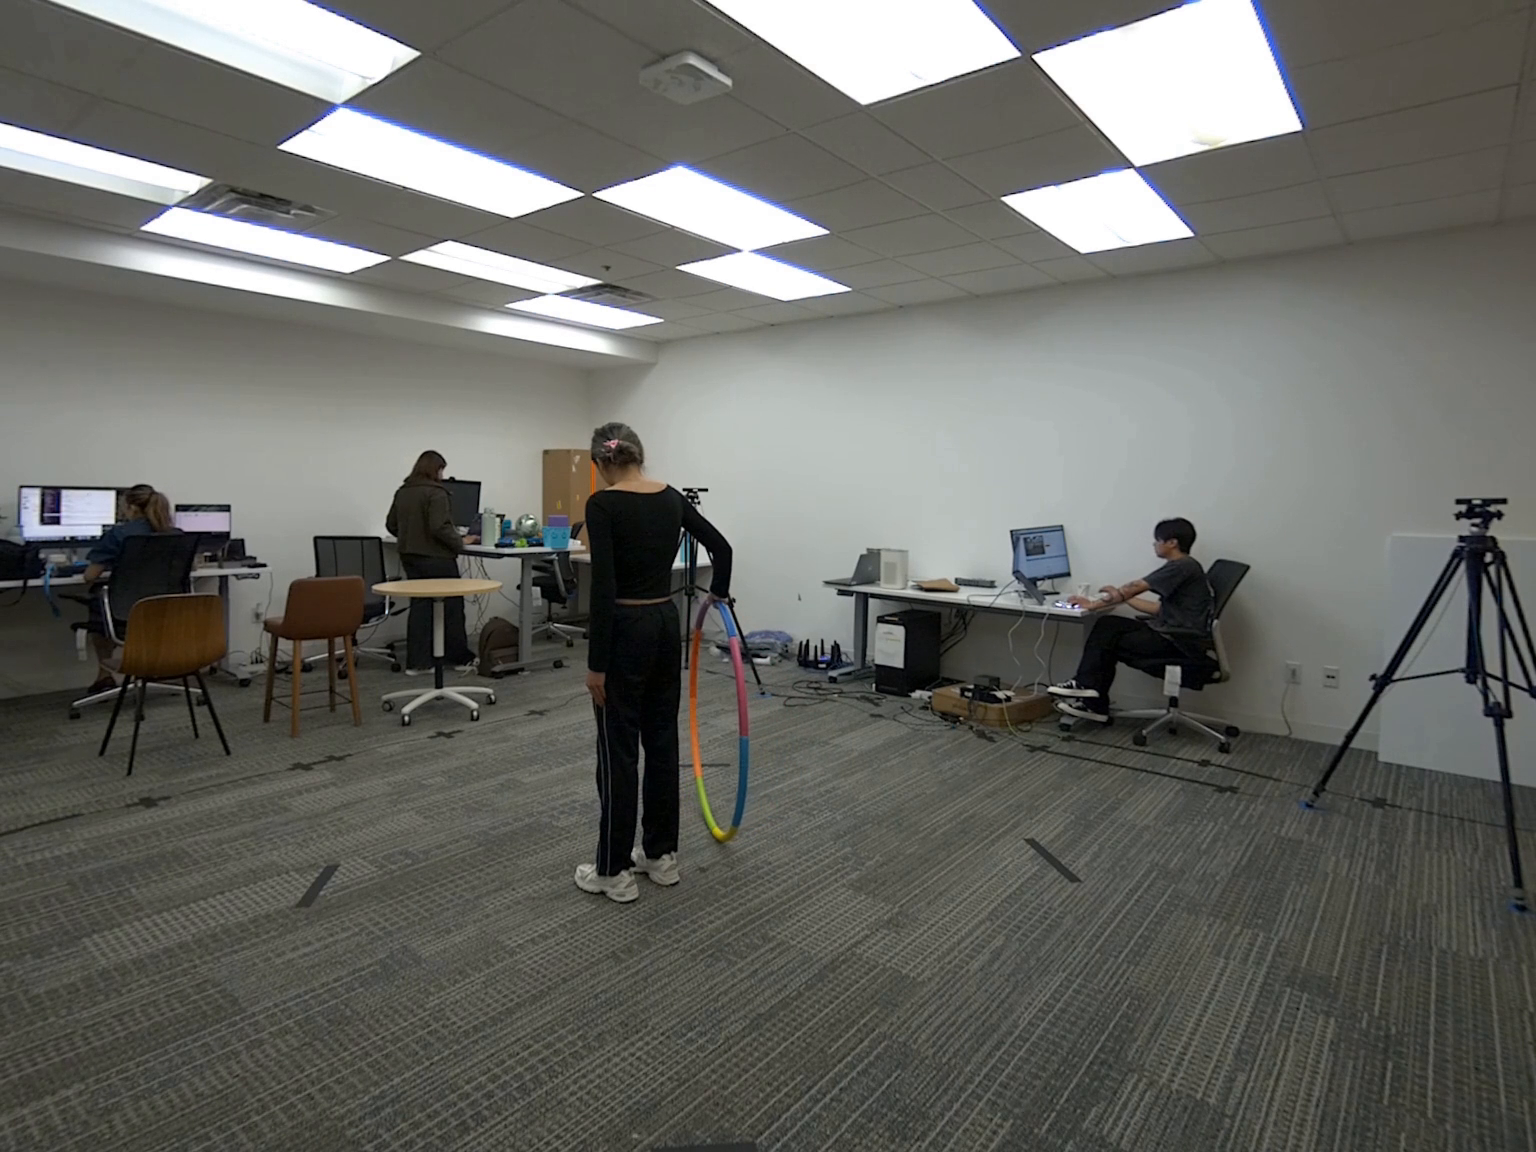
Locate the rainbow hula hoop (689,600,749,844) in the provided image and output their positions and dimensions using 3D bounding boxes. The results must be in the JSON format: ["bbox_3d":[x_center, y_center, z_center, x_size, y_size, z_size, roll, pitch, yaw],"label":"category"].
[{"bbox_3d":[-0.229,0.556,3.443,0.035,0.976,0.996,0,4,-15],"label":"rainbow hula hoop"}]
